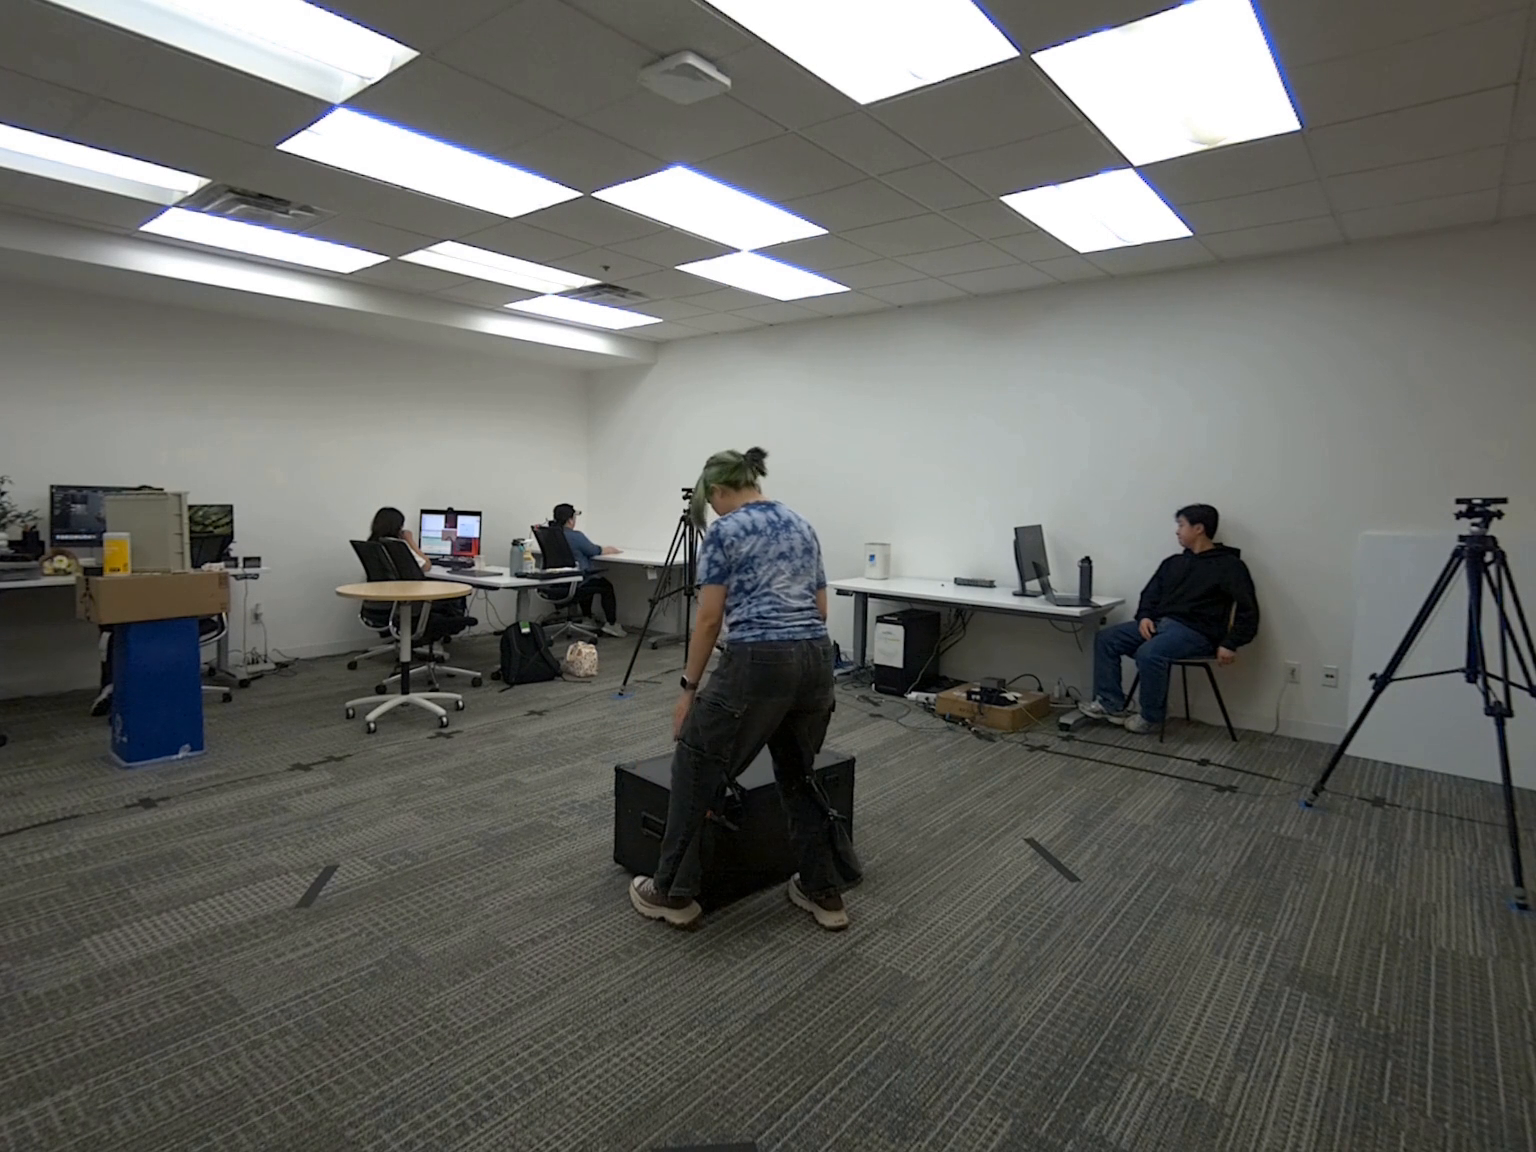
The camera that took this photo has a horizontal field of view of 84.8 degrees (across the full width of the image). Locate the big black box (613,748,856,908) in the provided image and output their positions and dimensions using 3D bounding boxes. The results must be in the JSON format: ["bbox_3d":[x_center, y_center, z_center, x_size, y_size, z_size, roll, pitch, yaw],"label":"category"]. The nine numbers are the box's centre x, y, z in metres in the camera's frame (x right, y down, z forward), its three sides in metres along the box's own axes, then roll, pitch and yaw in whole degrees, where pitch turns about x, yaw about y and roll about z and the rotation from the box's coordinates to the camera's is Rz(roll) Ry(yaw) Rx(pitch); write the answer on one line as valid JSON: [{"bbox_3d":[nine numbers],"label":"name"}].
[{"bbox_3d":[-0.103,0.875,3.195,0.836,0.395,0.539,-4,7,-43],"label":"big black box"}]
